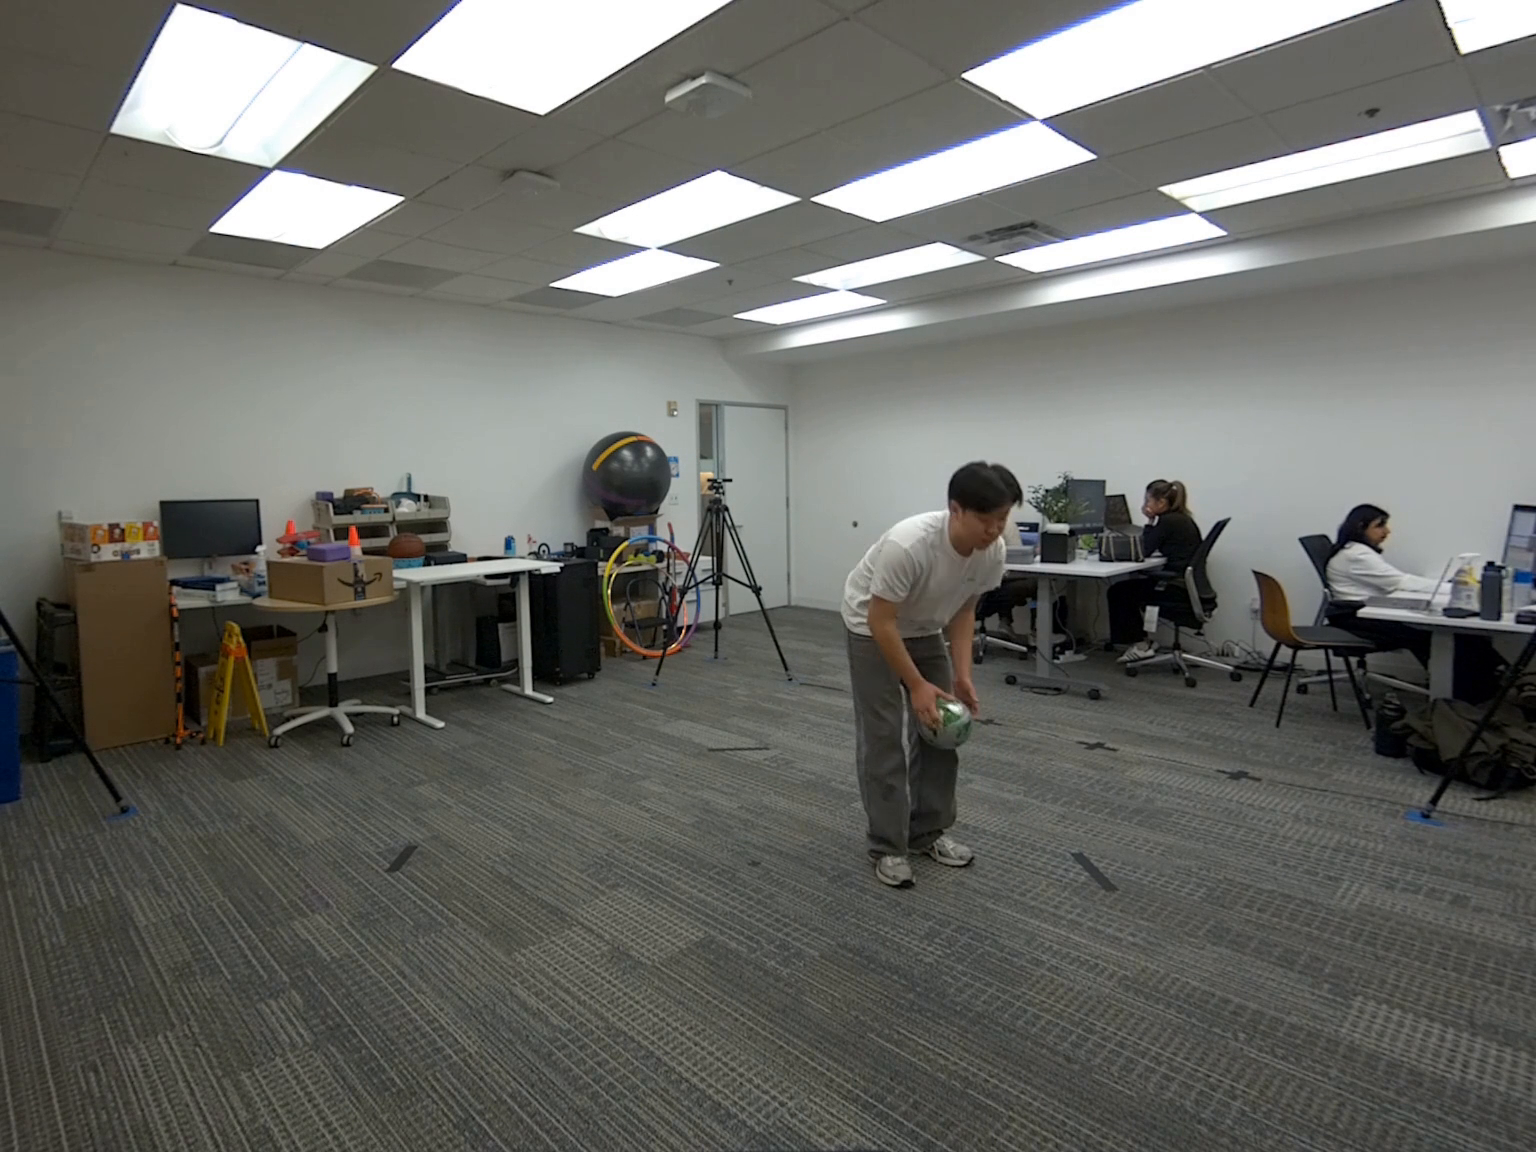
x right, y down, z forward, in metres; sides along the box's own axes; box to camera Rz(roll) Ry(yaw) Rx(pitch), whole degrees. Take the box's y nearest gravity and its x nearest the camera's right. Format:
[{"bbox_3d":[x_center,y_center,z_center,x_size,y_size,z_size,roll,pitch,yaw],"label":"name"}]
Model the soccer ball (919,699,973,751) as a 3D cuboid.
[{"bbox_3d":[0.606,0.516,2.941,0.187,0.187,0.188,-1,5,-2],"label":"soccer ball"}]
